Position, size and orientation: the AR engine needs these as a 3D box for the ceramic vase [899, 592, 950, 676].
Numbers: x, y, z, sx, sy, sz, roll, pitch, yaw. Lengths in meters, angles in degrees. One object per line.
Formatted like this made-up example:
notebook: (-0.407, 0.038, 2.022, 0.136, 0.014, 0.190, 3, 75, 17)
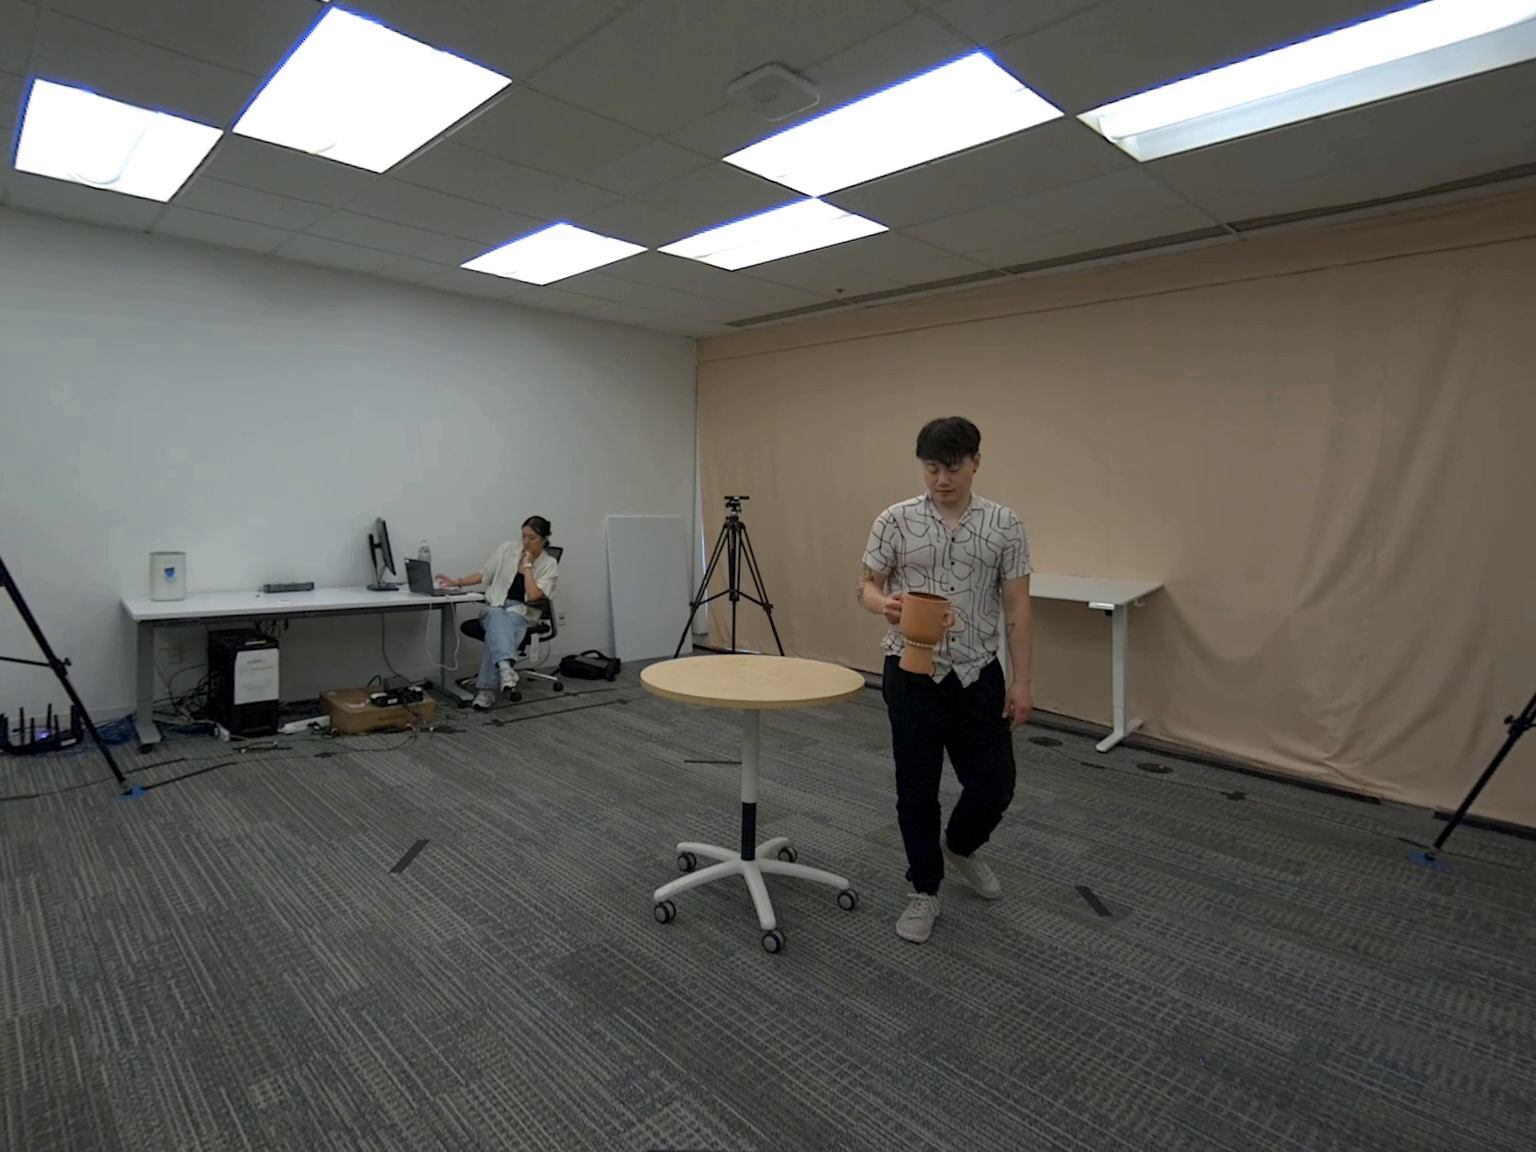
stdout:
ceramic vase: (0.447, 0.171, 2.459, 0.134, 0.218, 0.160, 7, 9, -7)
